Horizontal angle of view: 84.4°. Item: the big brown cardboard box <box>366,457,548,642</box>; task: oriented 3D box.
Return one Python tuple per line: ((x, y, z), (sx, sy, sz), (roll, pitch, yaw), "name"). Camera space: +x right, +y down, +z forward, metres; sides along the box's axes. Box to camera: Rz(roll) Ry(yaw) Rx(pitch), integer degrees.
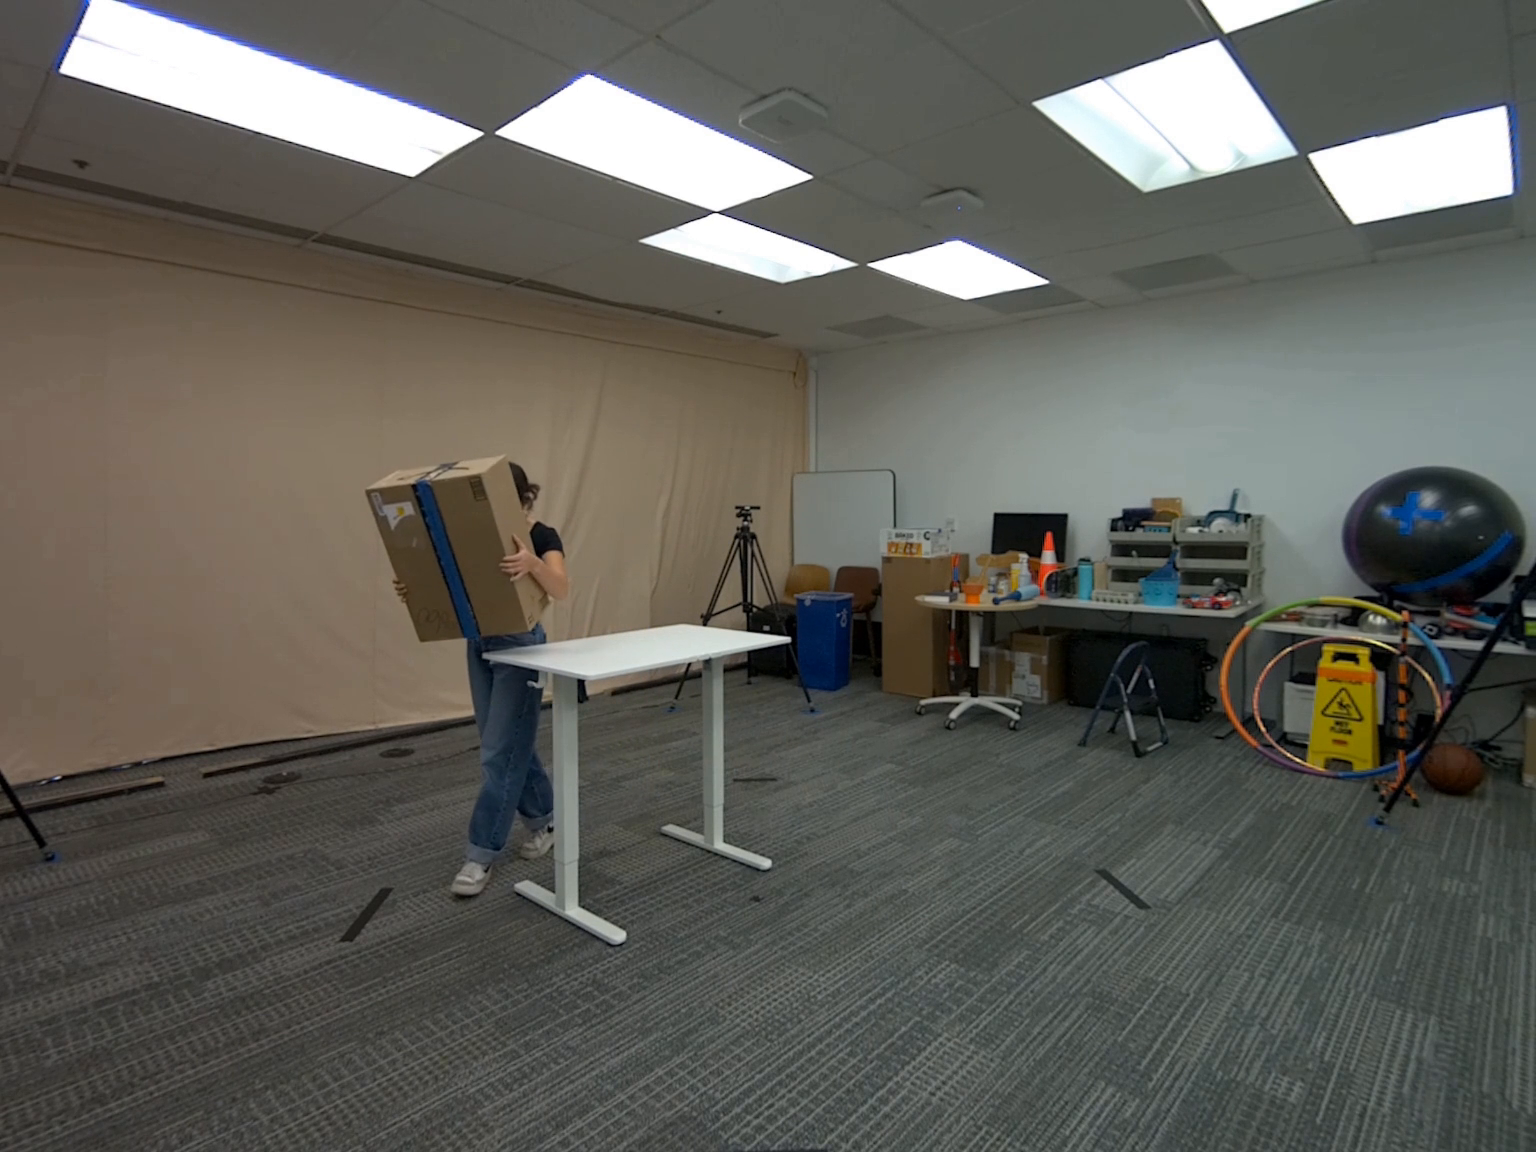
((-1.050, -0.090, 2.860), (0.422, 0.579, 0.234), (-7, 21, 10), "big brown cardboard box")
